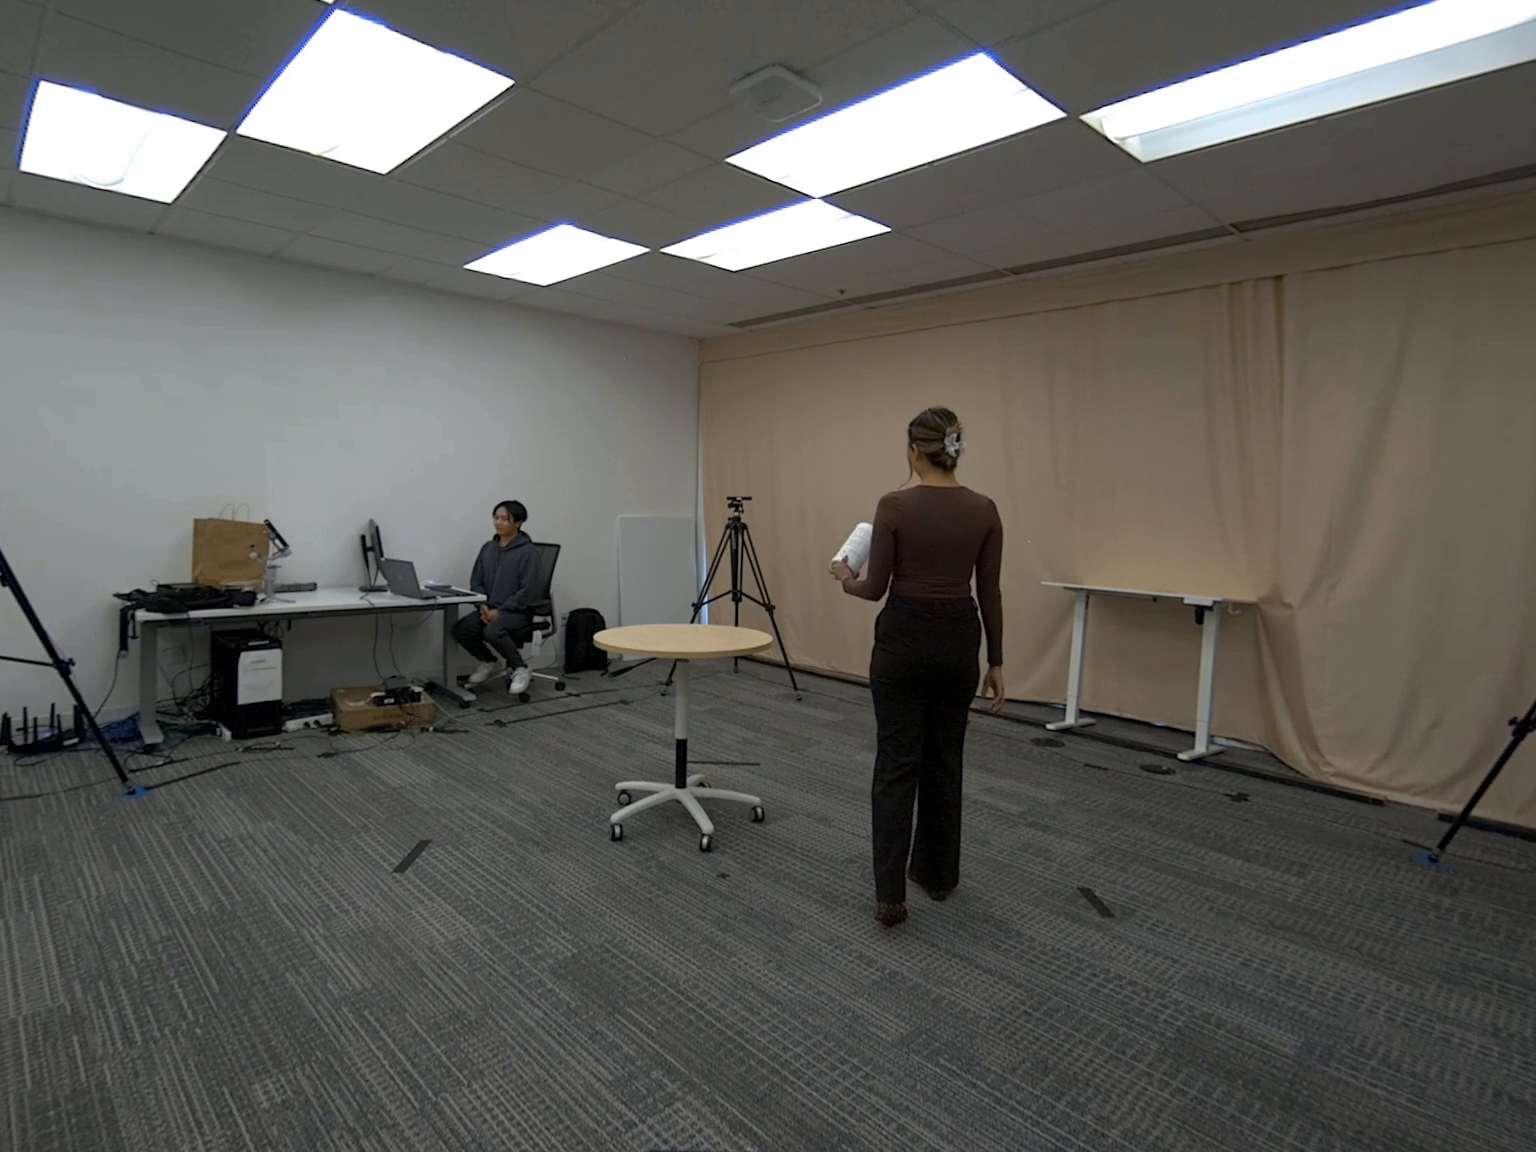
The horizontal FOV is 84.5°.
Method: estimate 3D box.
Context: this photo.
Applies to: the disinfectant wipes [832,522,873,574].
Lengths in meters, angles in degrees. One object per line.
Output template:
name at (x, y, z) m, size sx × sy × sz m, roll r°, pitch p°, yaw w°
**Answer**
disinfectant wipes at (0.338, -0.094, 3.240) m, size 0.121 × 0.218 × 0.114 m, roll 5°, pitch -40°, yaw 45°
